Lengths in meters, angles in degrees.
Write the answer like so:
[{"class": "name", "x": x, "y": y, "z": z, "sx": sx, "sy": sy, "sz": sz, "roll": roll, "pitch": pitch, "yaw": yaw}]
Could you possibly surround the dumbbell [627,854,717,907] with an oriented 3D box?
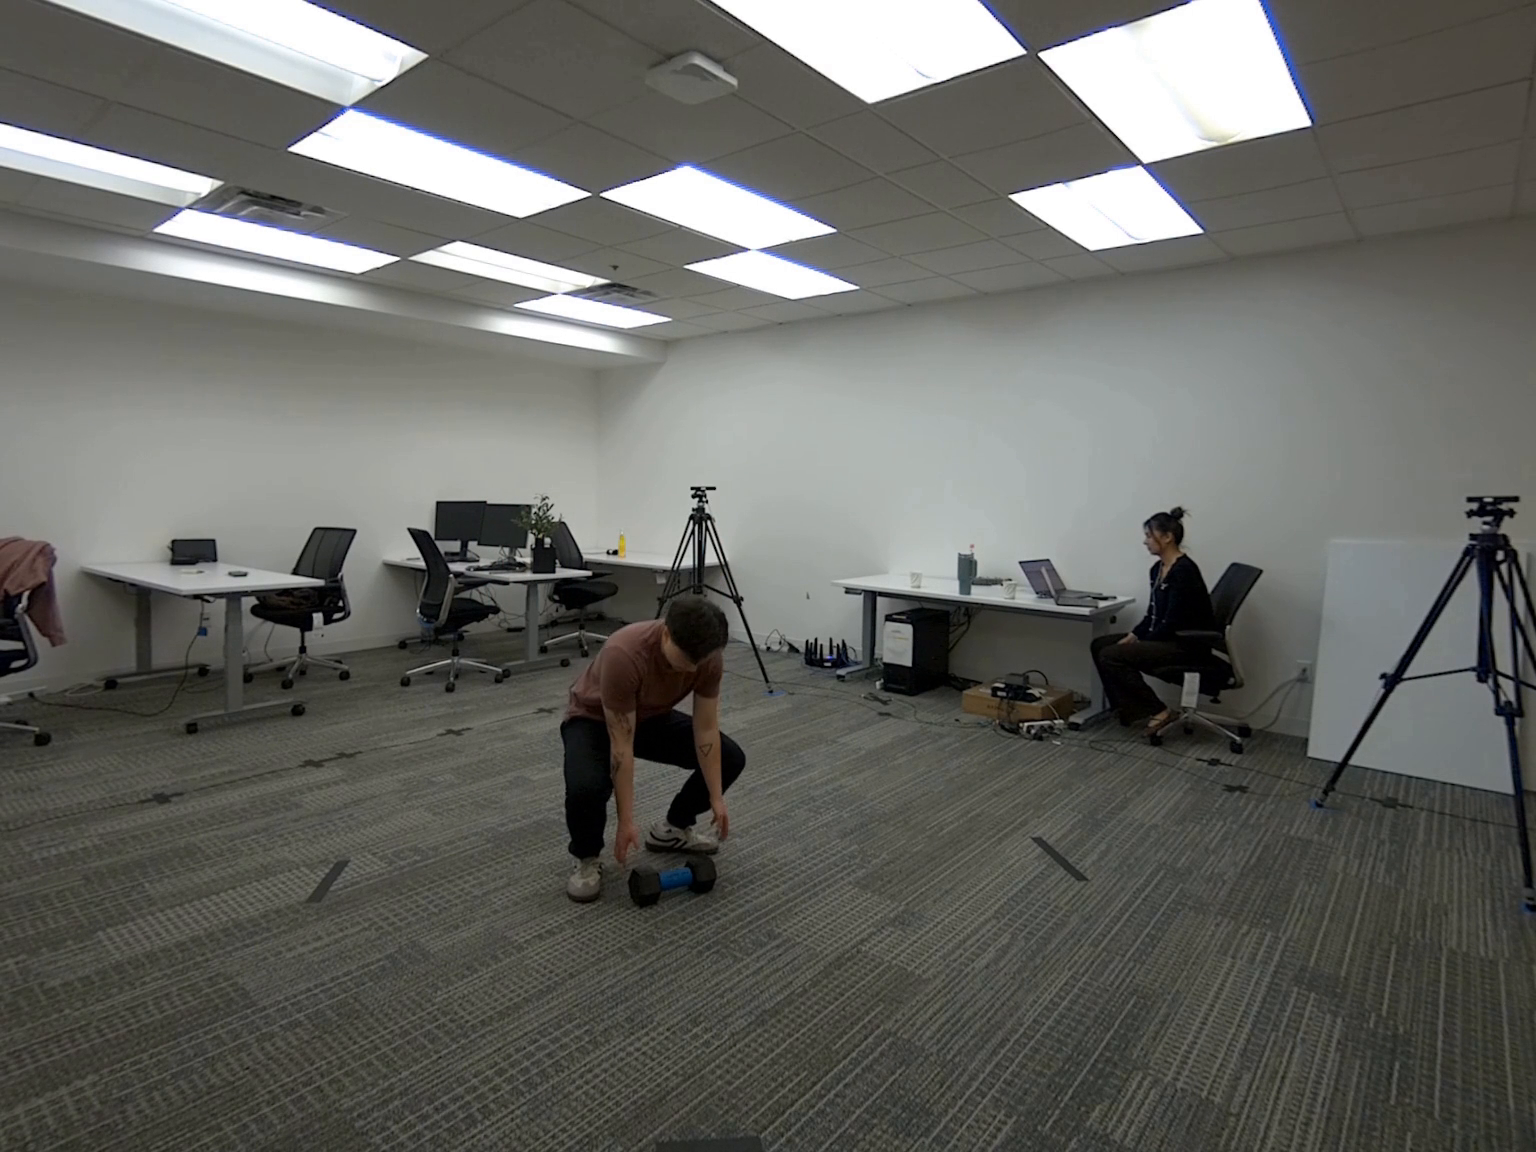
[{"class": "dumbbell", "x": -0.333, "y": 1.035, "z": 2.883, "sx": 0.286, "sy": 0.121, "sz": 0.113, "roll": -1, "pitch": 35, "yaw": -30}]
